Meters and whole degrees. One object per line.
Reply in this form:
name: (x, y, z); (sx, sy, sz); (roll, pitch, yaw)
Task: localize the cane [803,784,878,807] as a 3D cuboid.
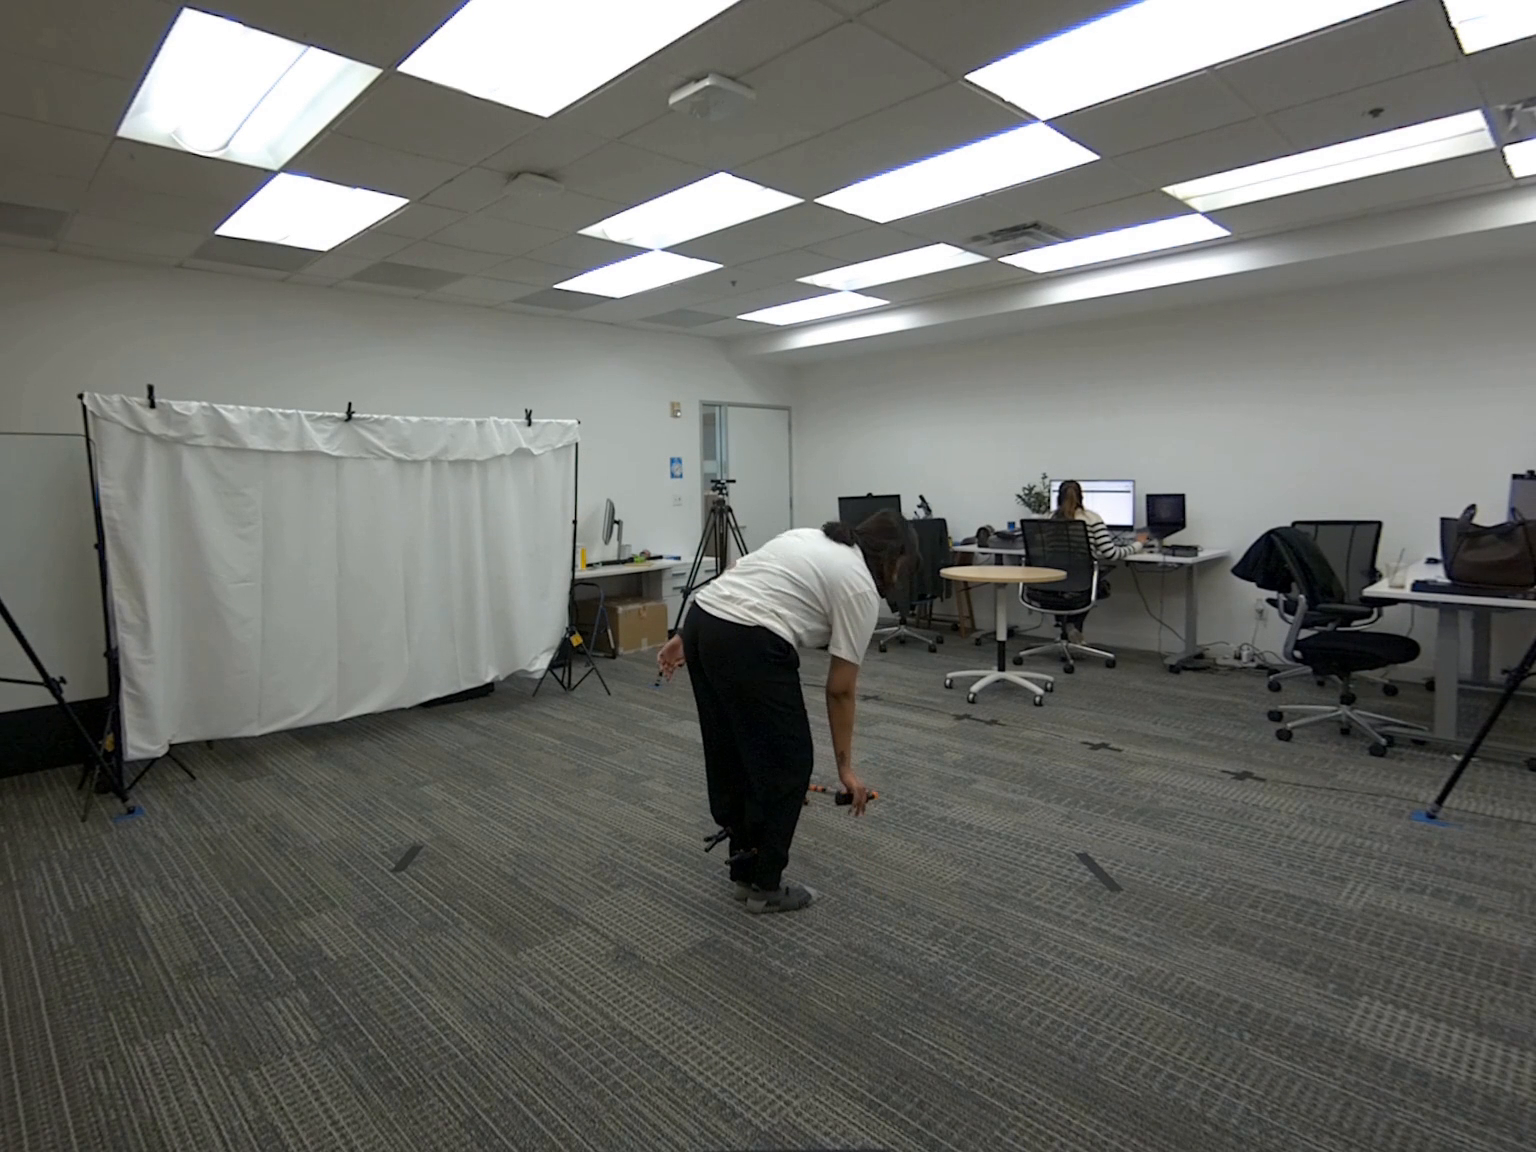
cane: (0.204, 0.824, 3.246); (0.203, 0.153, 0.911); (-1, -10, -17)
